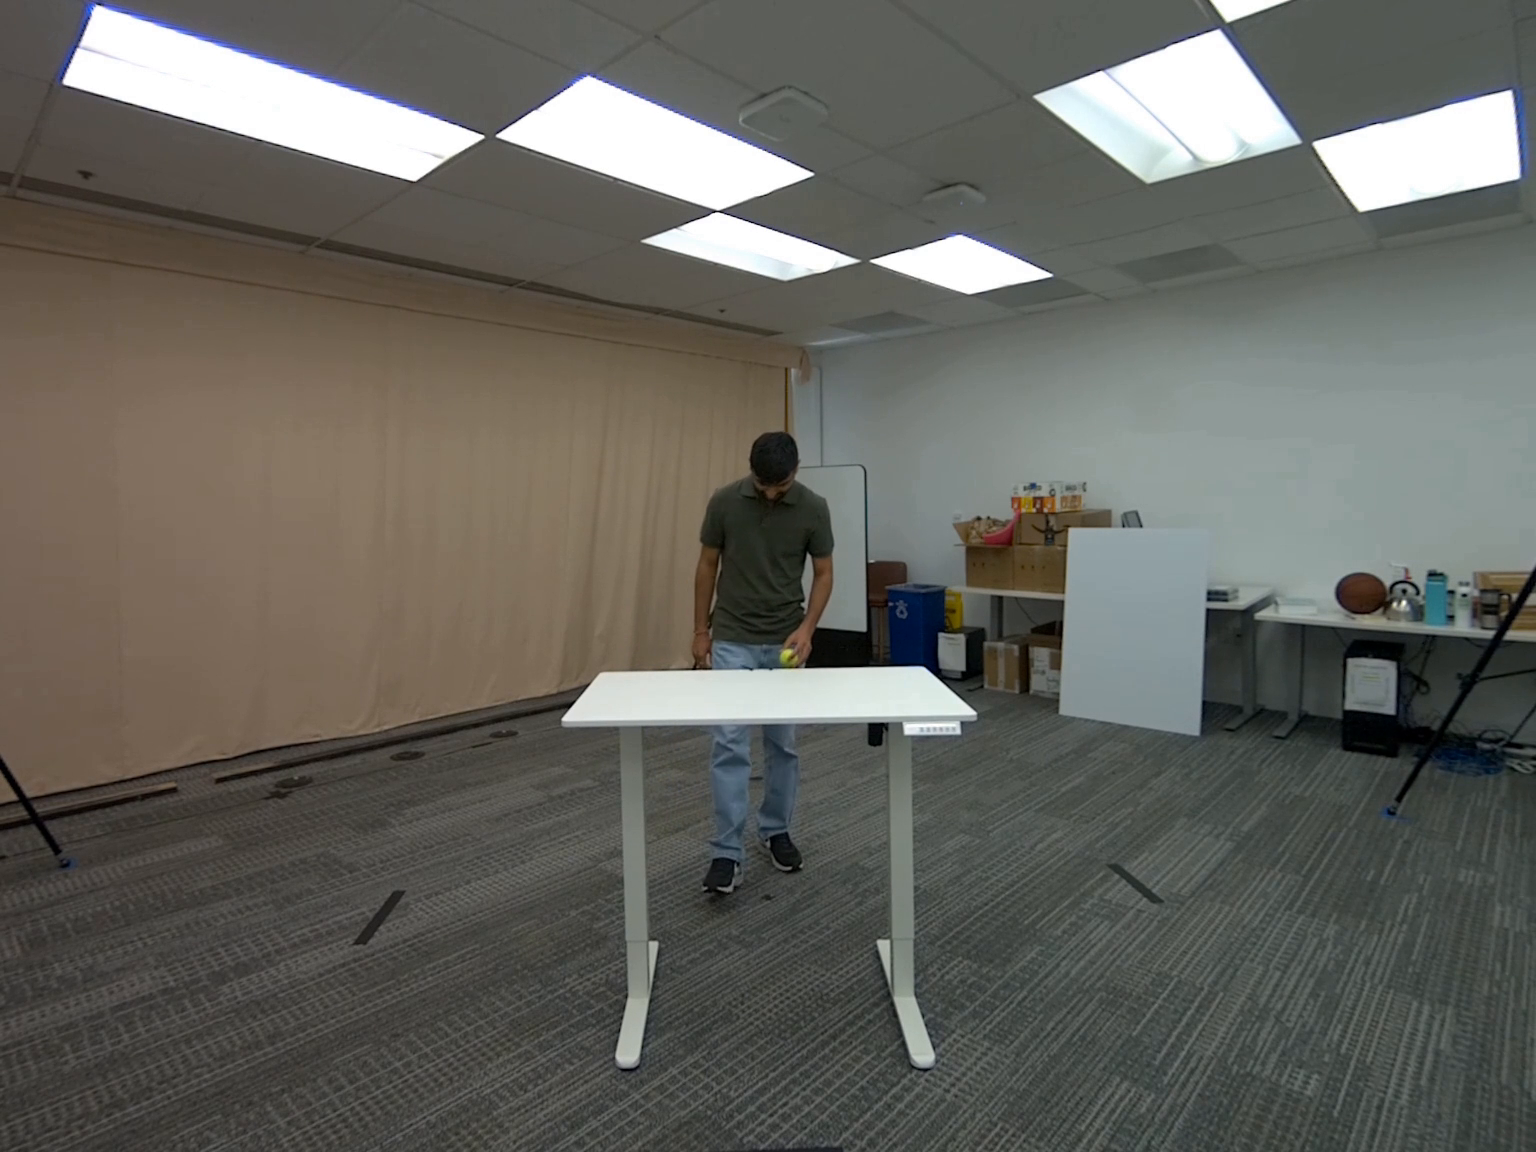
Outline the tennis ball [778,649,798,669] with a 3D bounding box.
[{"bbox_3d":[0.081,0.290,3.007,0.066,0.066,0.067,-1,4,-2],"label":"tennis ball"}]
